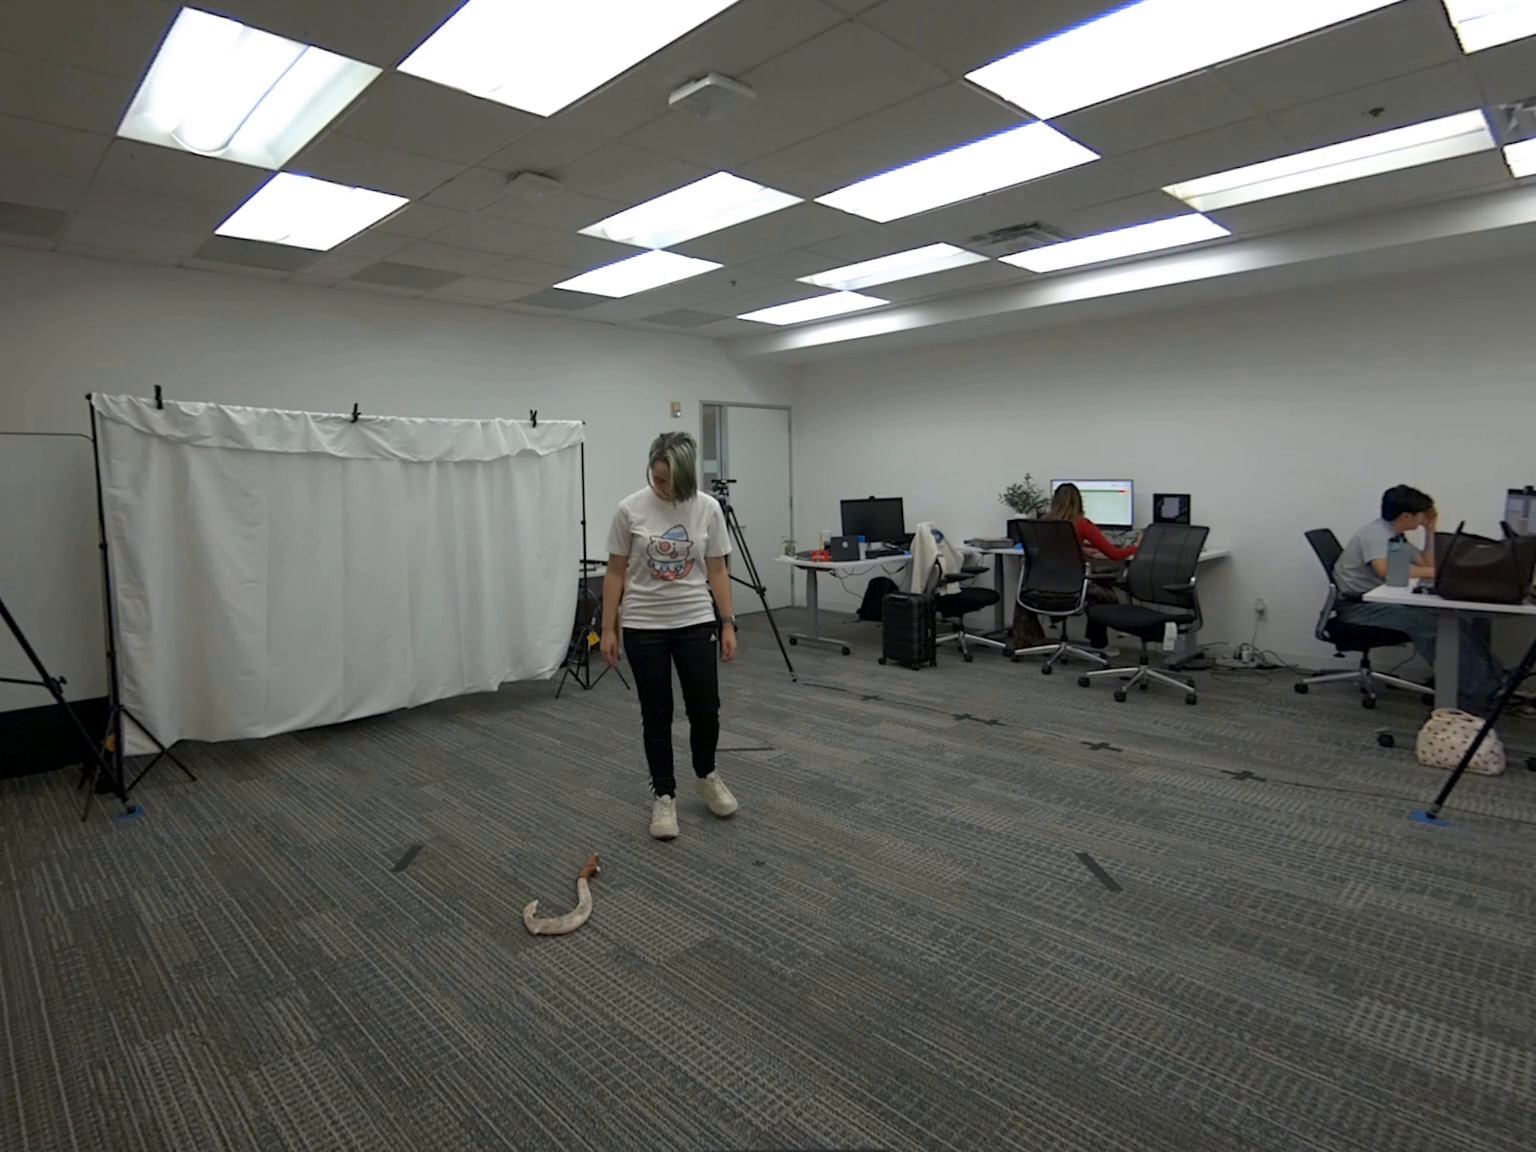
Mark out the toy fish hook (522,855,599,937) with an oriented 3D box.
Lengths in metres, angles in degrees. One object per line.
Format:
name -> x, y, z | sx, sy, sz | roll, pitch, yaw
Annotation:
toy fish hook -> -0.680, 1.062, 2.886 | 0.225, 0.048, 0.509 | -1, 6, -1
